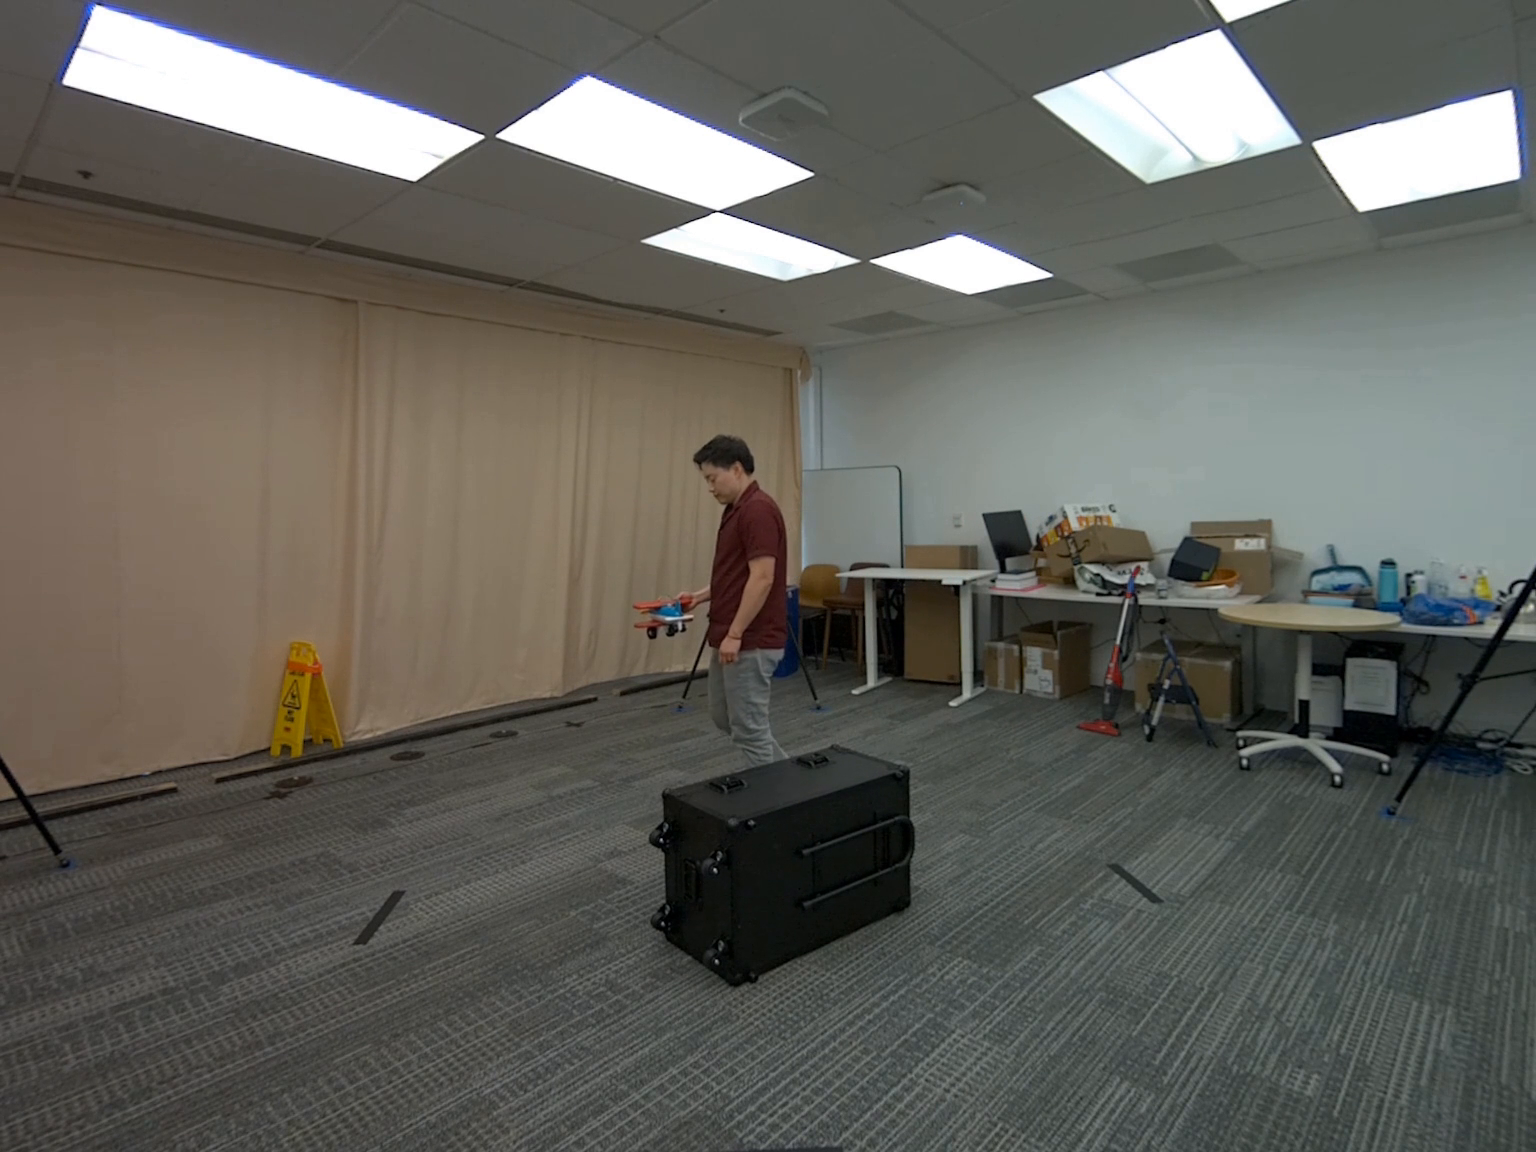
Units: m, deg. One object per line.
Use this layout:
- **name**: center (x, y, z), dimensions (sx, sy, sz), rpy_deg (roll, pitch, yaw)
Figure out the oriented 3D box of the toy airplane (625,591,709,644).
- **toy airplane**: center (-0.394, 0.167, 3.461), dimensions (0.265, 0.157, 0.243), rpy_deg (-15, -9, 31)
